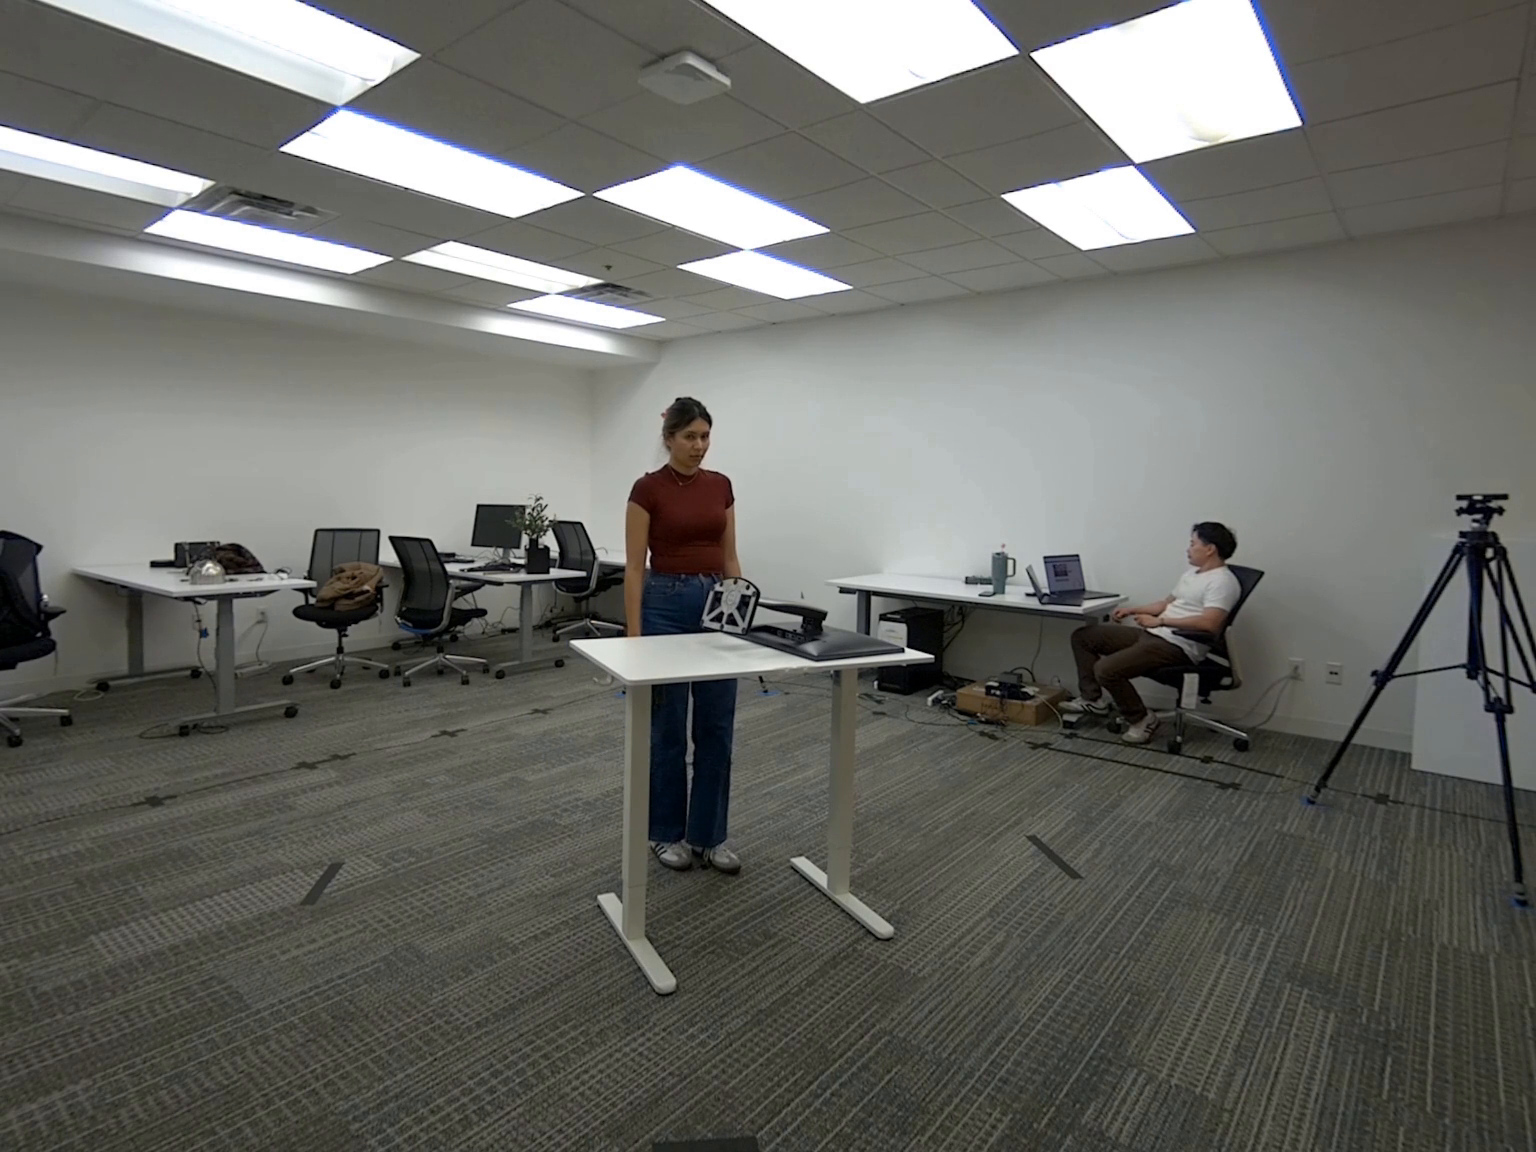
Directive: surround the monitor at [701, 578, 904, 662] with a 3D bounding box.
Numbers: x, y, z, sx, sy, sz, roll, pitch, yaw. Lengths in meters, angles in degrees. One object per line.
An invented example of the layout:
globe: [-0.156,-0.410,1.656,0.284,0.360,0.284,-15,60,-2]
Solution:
monitor: [0.068,0.158,2.789,0.505,0.187,0.556,18,-4,-32]
